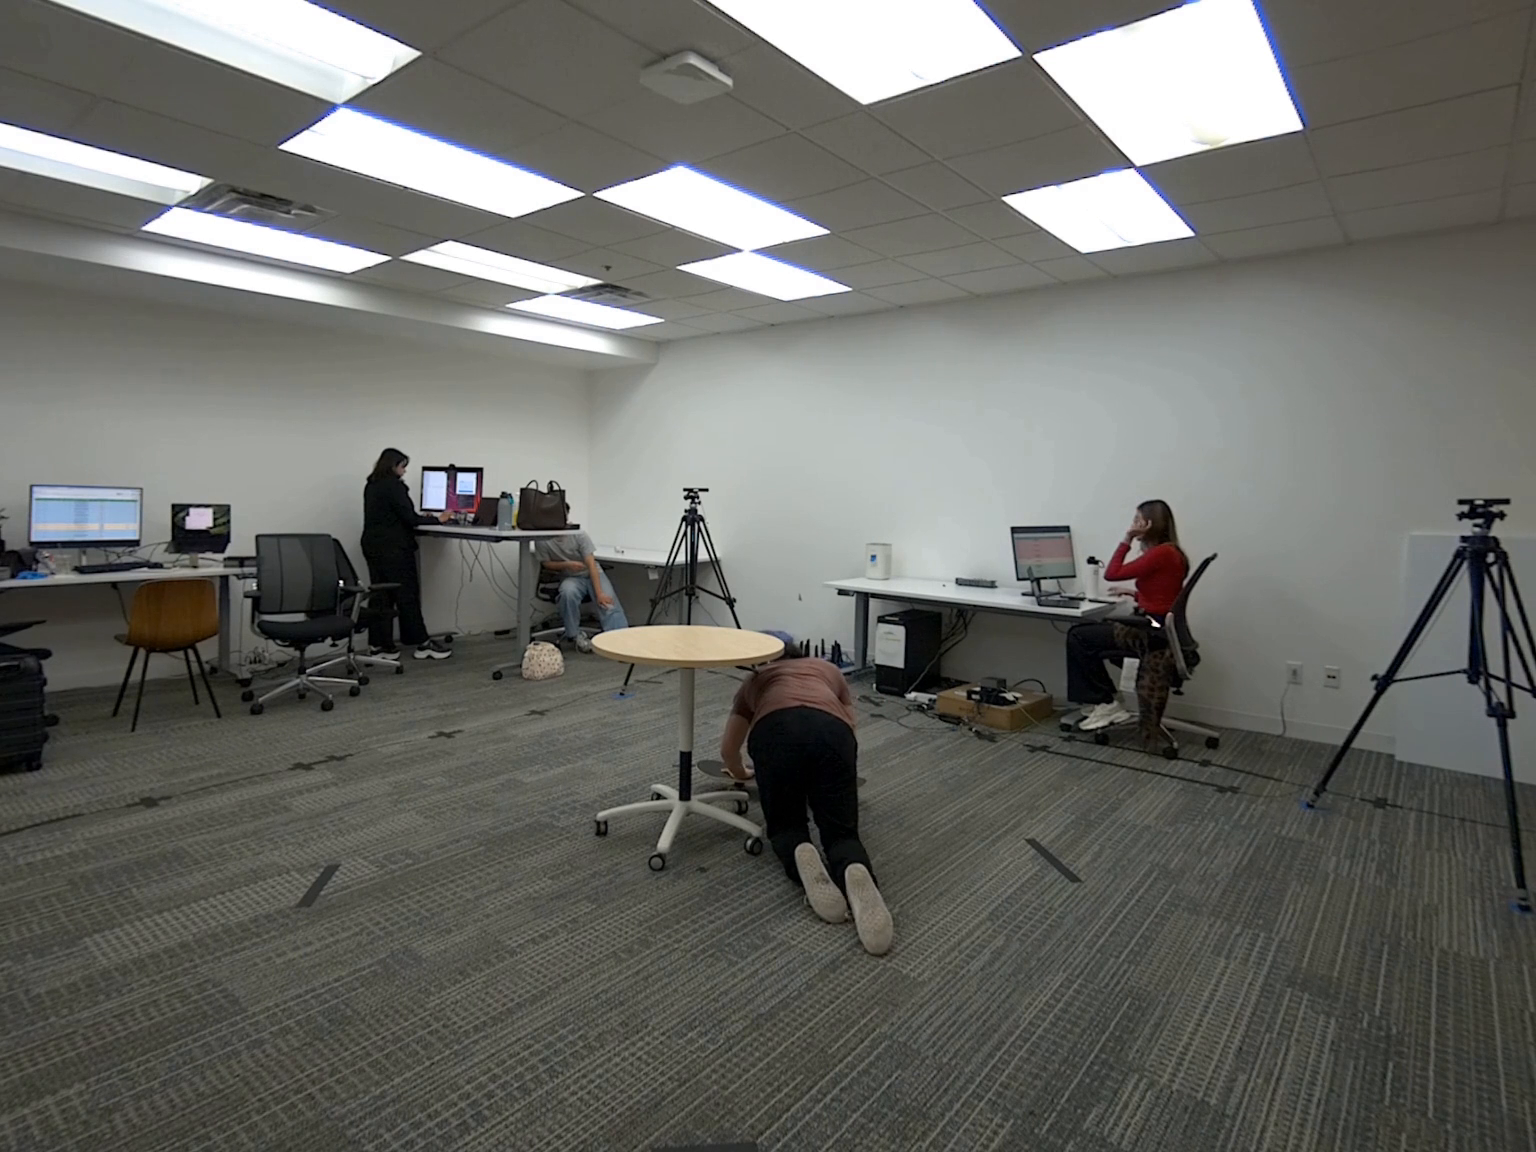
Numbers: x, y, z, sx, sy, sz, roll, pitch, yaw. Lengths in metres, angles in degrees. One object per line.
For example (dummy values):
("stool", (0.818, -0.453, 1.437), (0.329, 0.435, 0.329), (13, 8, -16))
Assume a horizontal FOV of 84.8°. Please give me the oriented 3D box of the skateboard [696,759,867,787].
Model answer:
("skateboard", (0.039, 0.934, 3.866), (0.799, 0.110, 0.191), (2, 6, 16))
